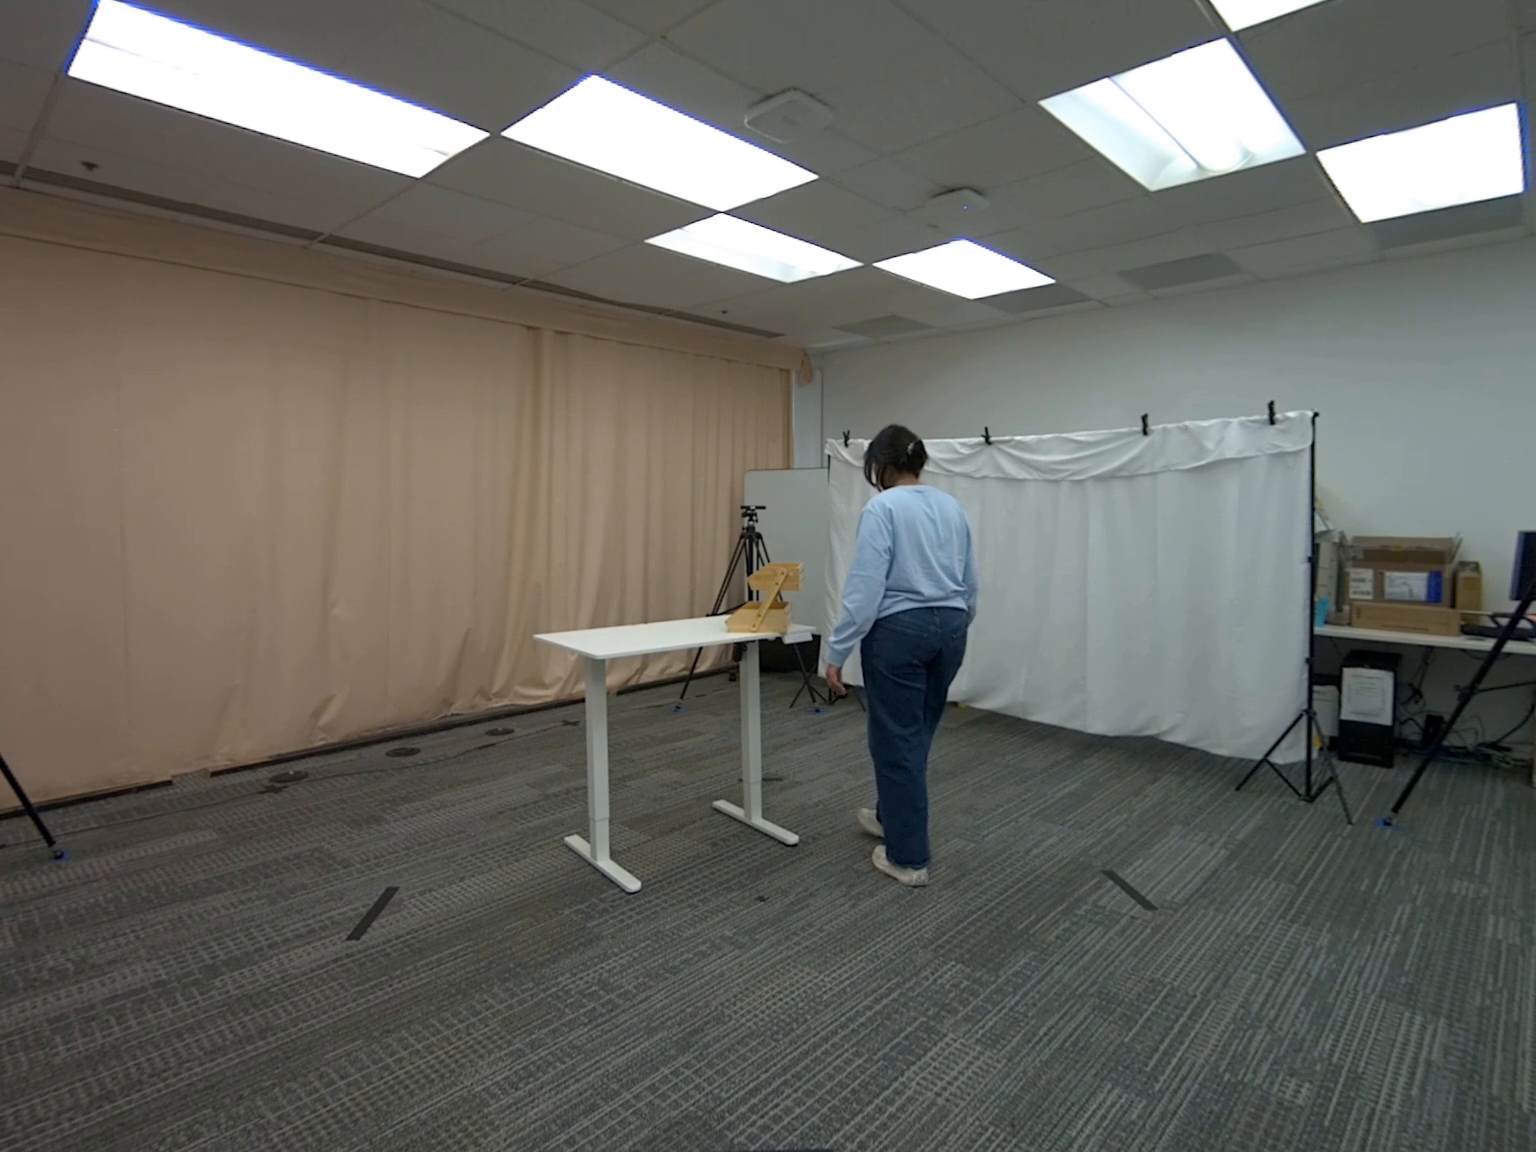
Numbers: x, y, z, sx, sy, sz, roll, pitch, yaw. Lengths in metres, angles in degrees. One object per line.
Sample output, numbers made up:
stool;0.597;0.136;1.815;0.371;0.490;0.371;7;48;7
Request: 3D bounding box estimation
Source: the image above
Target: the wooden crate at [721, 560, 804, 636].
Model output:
wooden crate;-0.018;0.080;3.507;0.305;0.273;0.322;1;4;8
